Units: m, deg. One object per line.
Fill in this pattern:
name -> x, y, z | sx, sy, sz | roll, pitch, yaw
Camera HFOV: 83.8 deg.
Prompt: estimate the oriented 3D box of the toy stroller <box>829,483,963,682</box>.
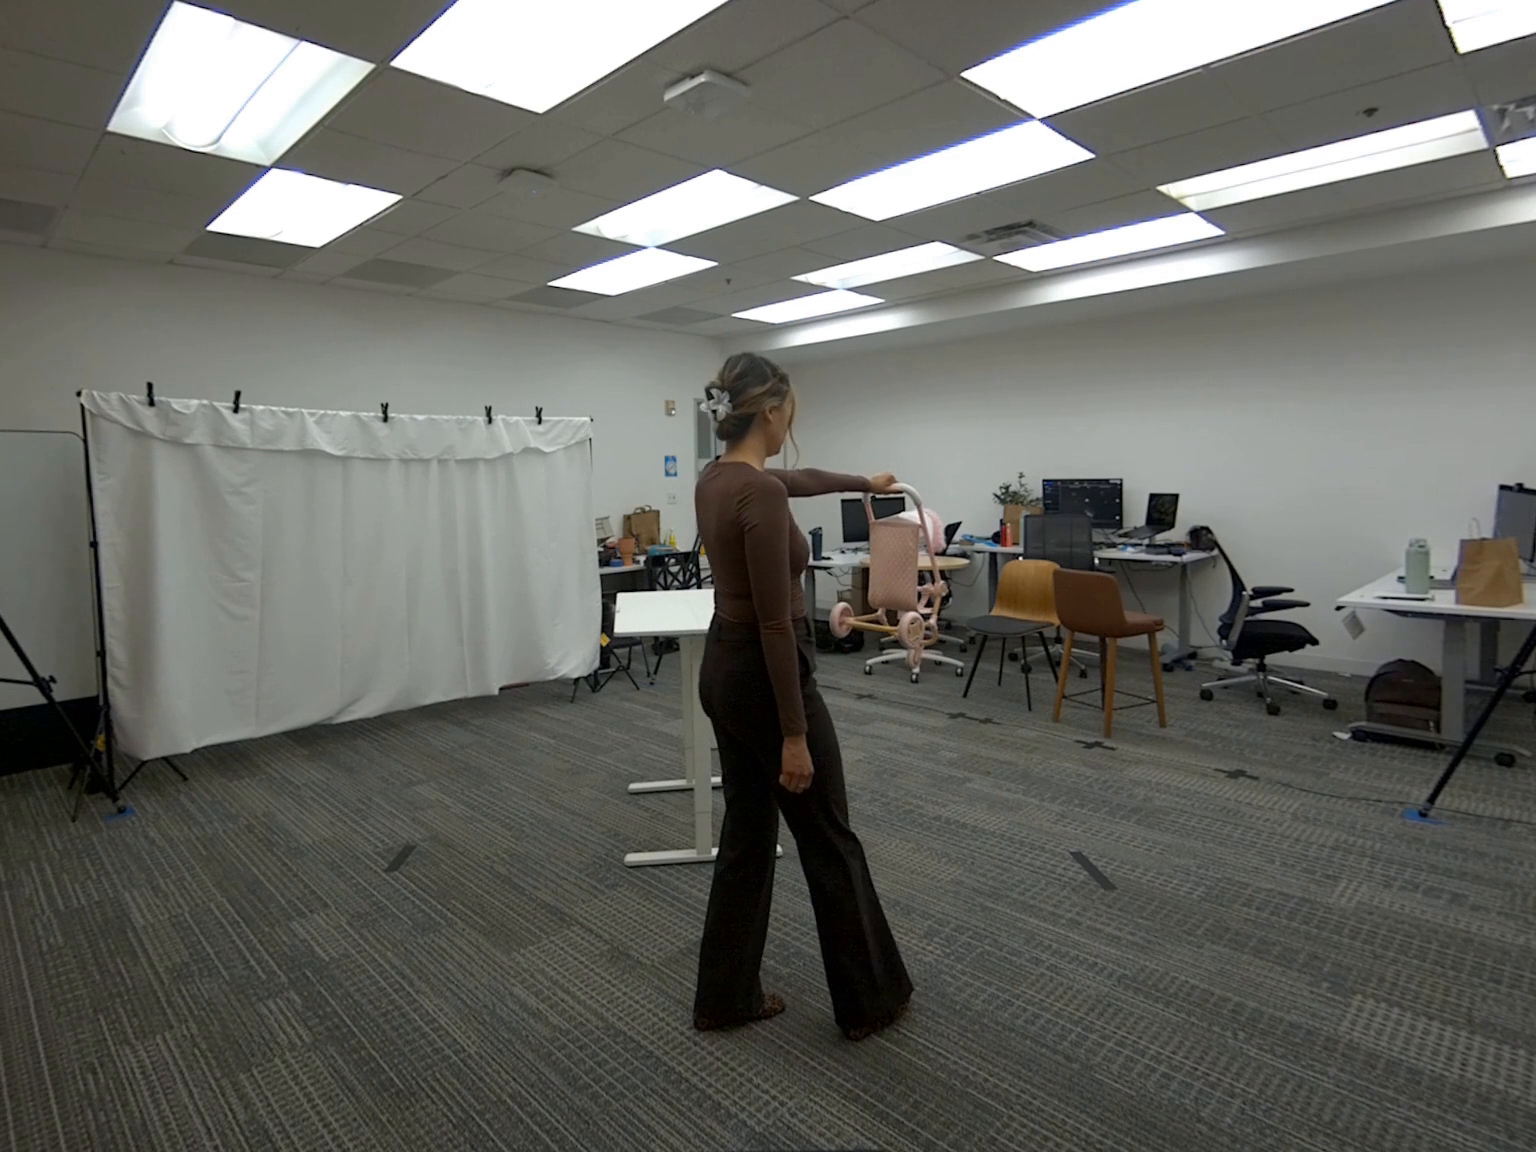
toy stroller -> 0.430, 0.012, 2.660 | 0.329, 0.538, 0.290 | 15, -9, -42
